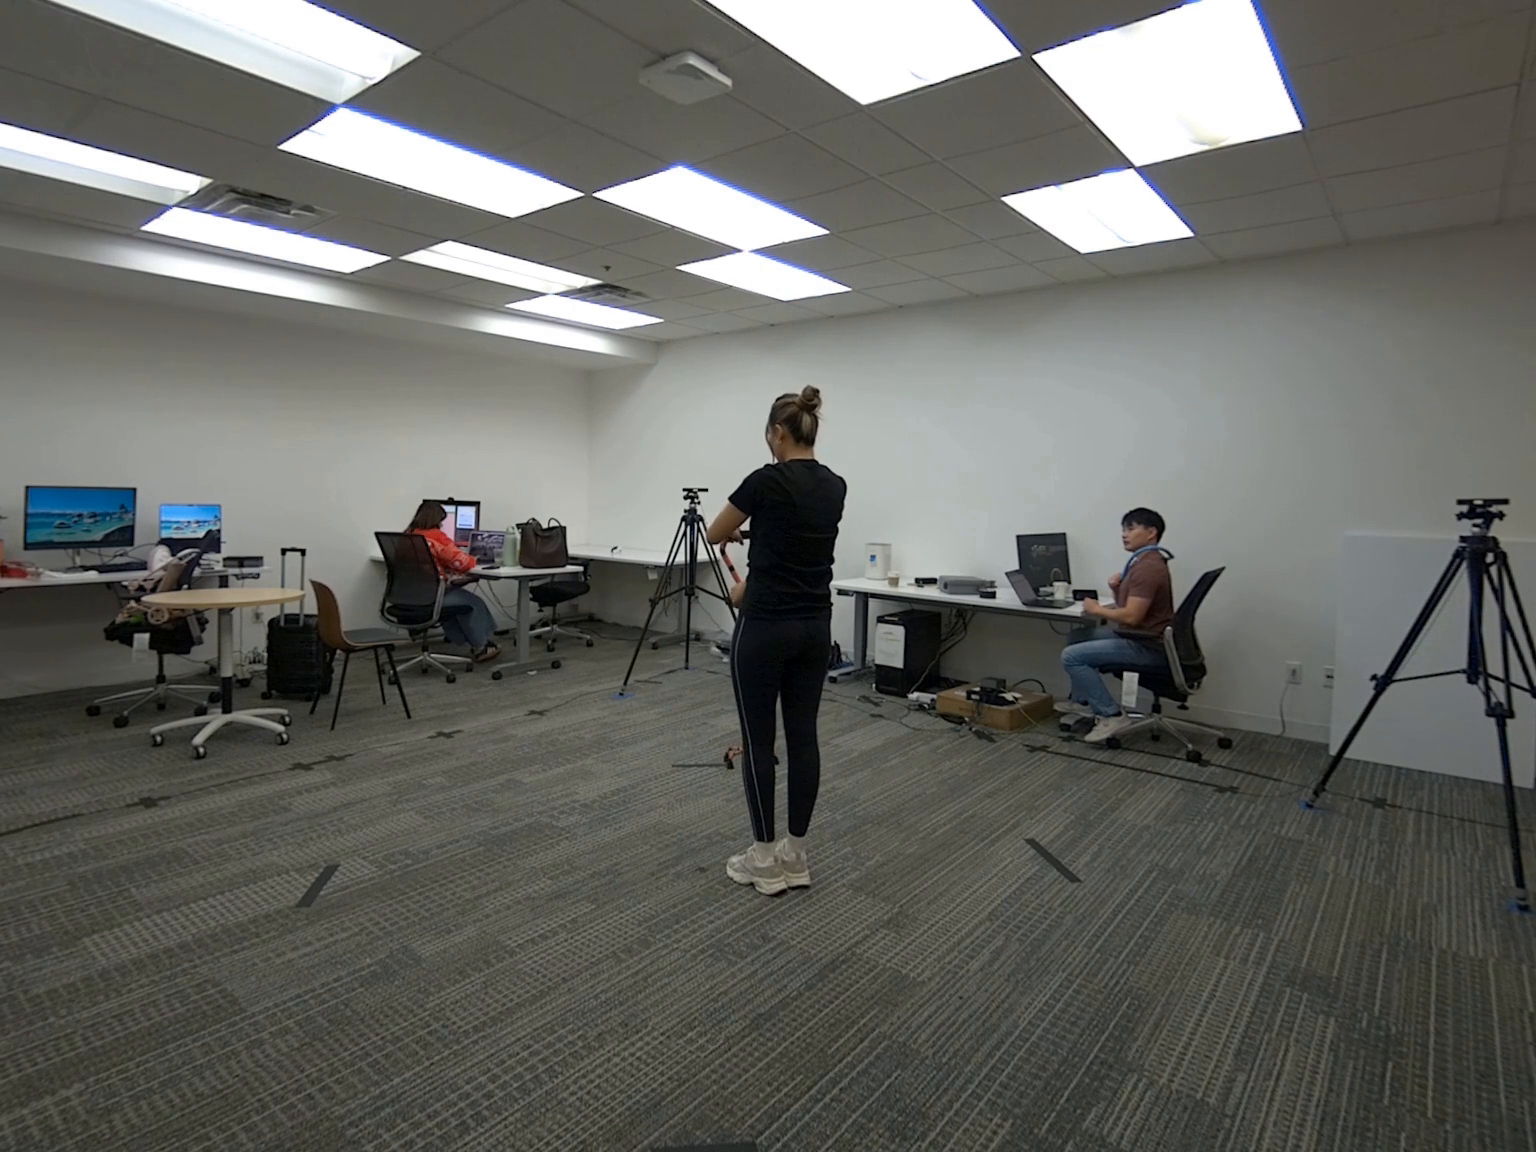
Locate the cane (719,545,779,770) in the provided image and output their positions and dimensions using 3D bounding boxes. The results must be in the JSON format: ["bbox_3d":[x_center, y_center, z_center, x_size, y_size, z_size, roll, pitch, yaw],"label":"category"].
[{"bbox_3d":[-0.114,0.286,3.353,0.206,0.910,0.151,-5,-3,-2],"label":"cane"}]
